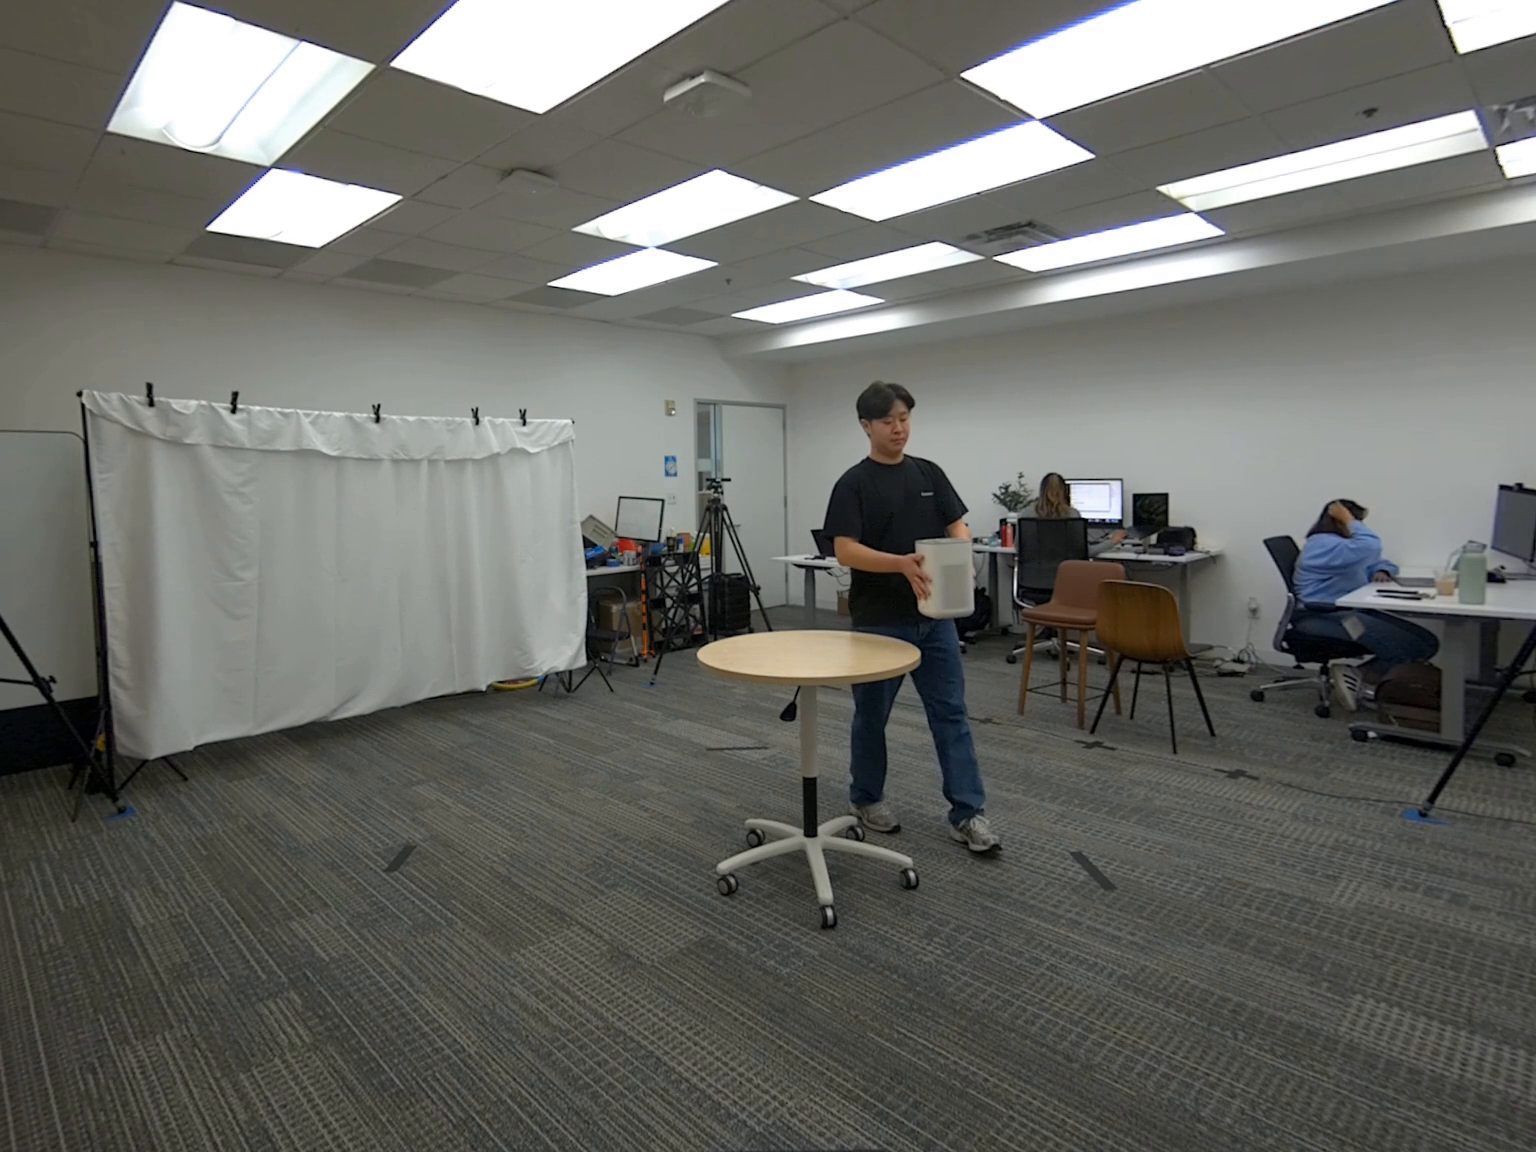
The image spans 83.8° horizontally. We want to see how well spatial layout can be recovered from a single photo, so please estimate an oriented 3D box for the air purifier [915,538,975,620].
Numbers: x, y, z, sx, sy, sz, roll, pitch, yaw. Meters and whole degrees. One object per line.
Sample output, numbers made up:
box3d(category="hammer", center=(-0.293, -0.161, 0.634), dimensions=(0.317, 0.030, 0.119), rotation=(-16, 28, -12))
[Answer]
box3d(category="air purifier", center=(0.607, 0.009, 3.006), dimensions=(0.170, 0.265, 0.173), rotation=(-4, 3, -9))
